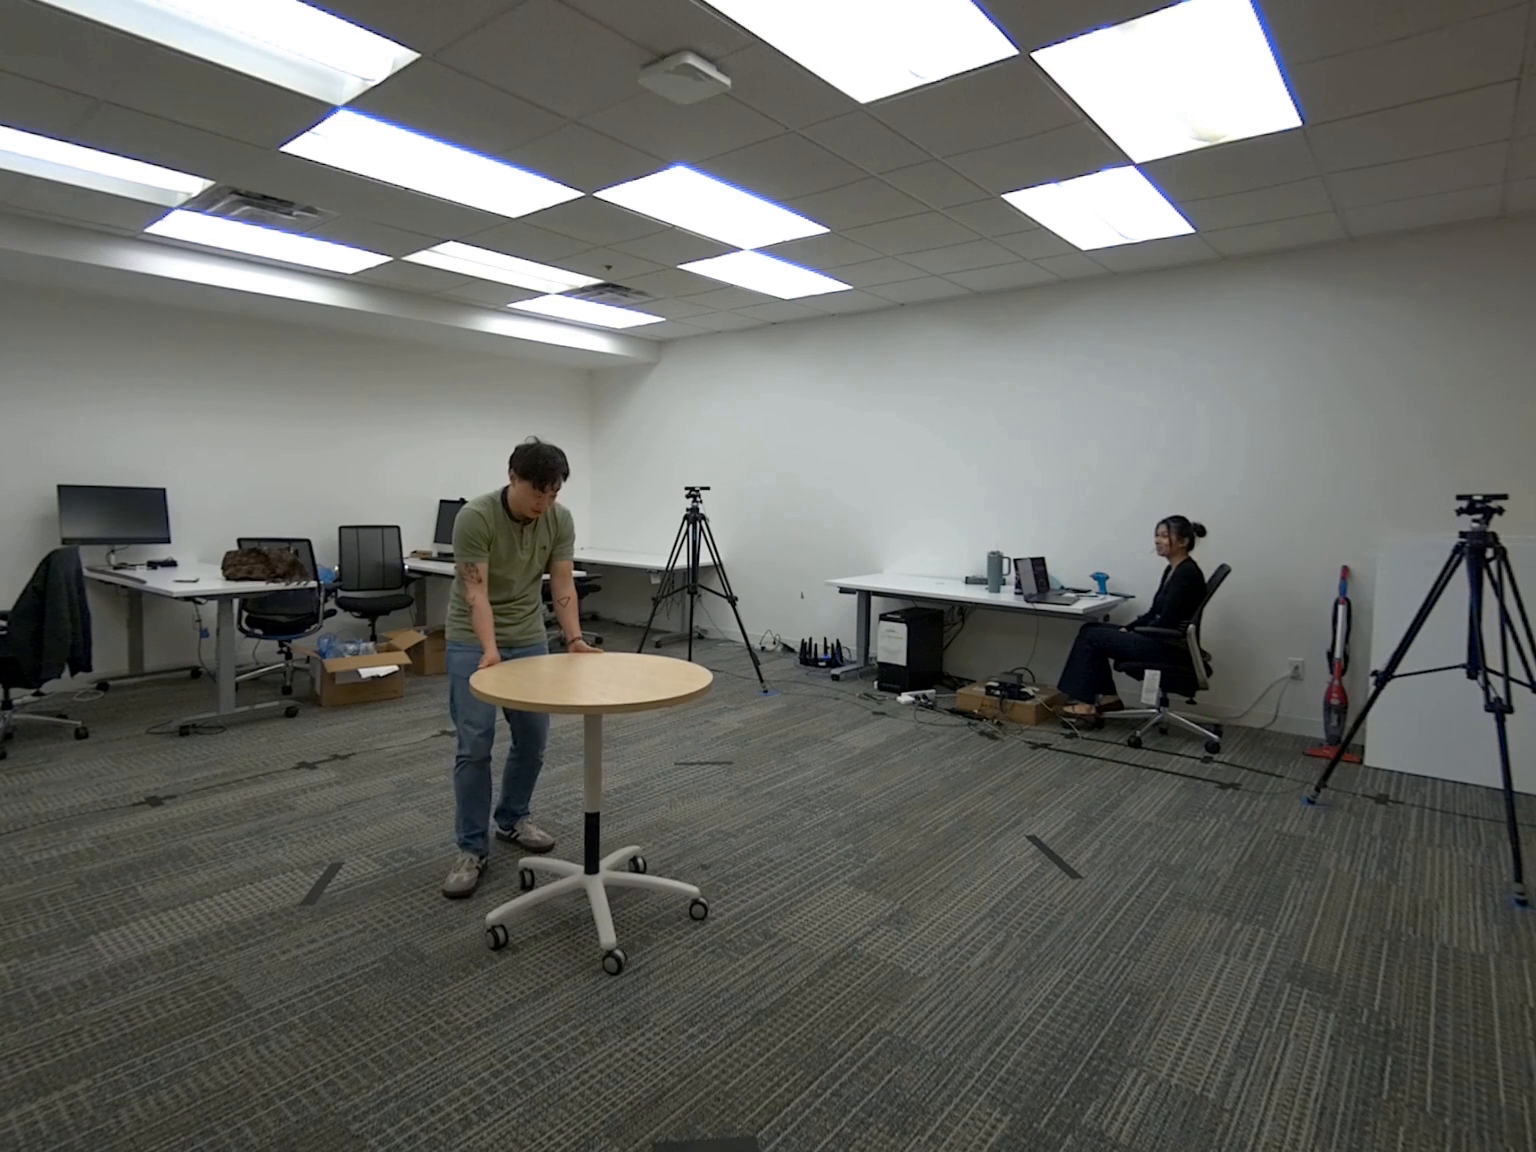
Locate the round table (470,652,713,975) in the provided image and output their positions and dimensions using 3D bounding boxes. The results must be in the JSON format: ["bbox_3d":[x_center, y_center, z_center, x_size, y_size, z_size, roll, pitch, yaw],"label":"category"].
[{"bbox_3d":[-0.571,0.708,2.735,0.763,0.791,0.768,1,4,-2],"label":"round table"}]
